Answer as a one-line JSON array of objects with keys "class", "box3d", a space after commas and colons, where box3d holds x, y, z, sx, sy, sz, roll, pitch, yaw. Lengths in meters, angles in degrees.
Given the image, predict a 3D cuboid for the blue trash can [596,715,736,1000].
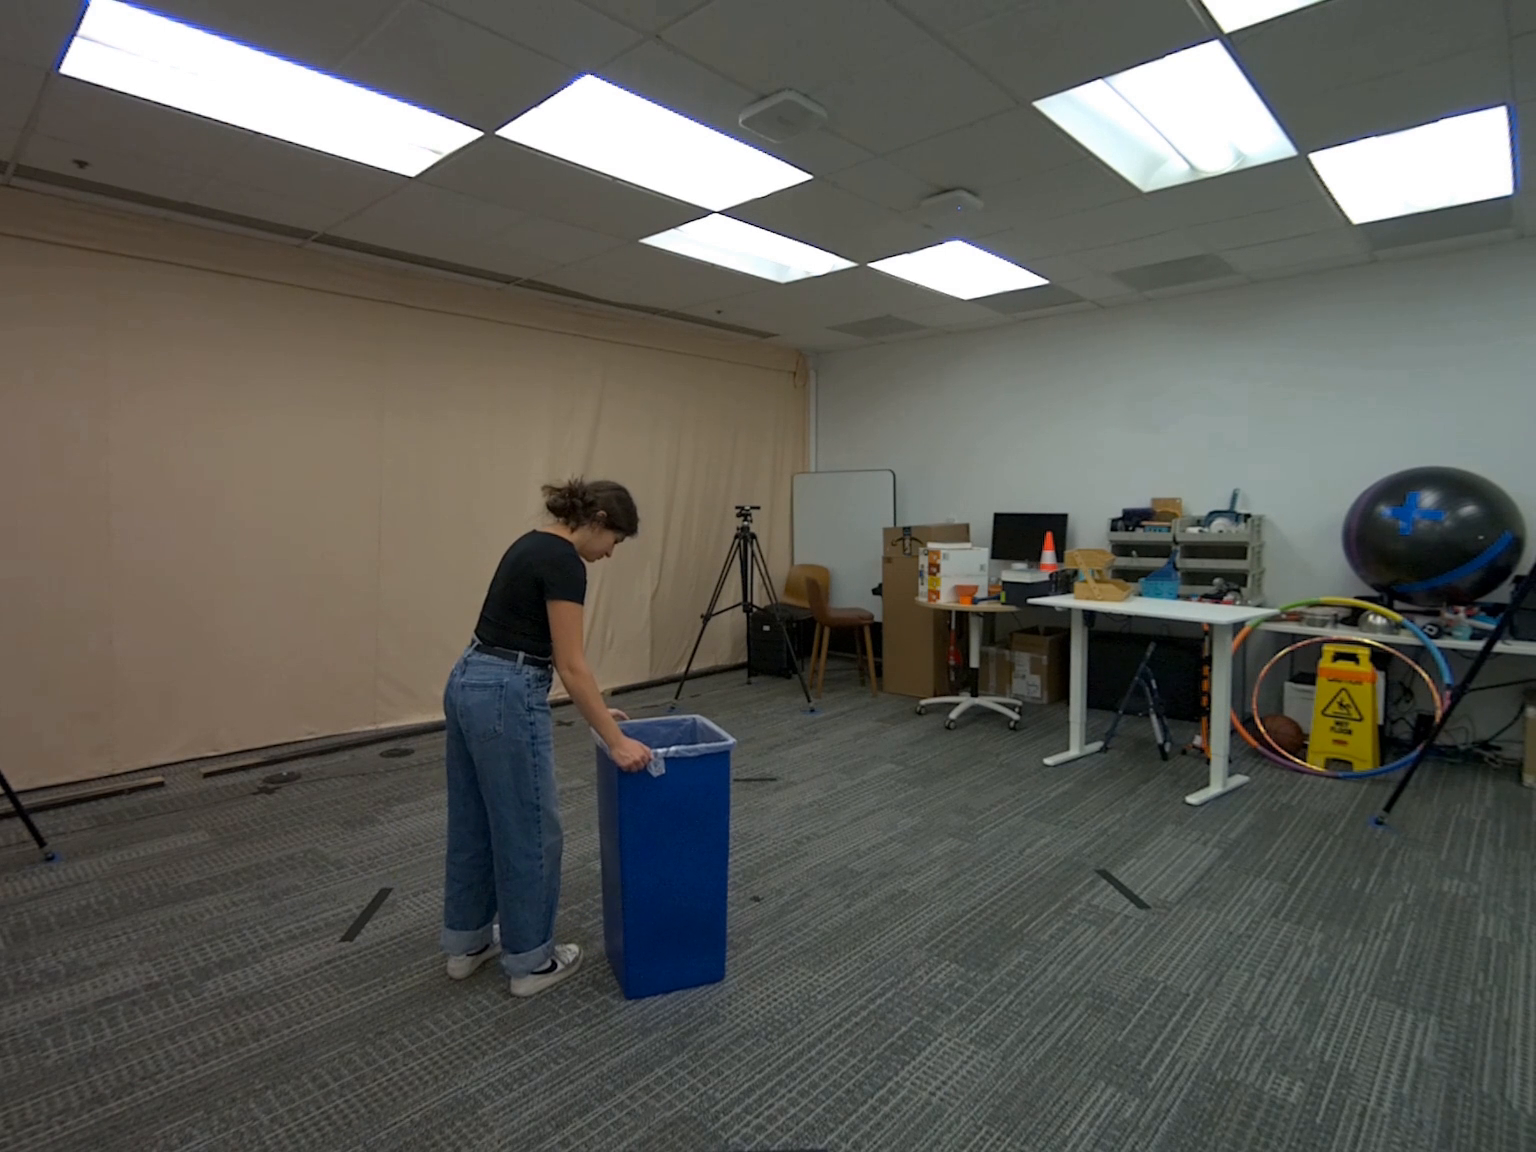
[{"class": "blue trash can", "box3d": [-0.326, 0.823, 2.548, 0.370, 0.712, 0.383, -1, 3, -22]}]
